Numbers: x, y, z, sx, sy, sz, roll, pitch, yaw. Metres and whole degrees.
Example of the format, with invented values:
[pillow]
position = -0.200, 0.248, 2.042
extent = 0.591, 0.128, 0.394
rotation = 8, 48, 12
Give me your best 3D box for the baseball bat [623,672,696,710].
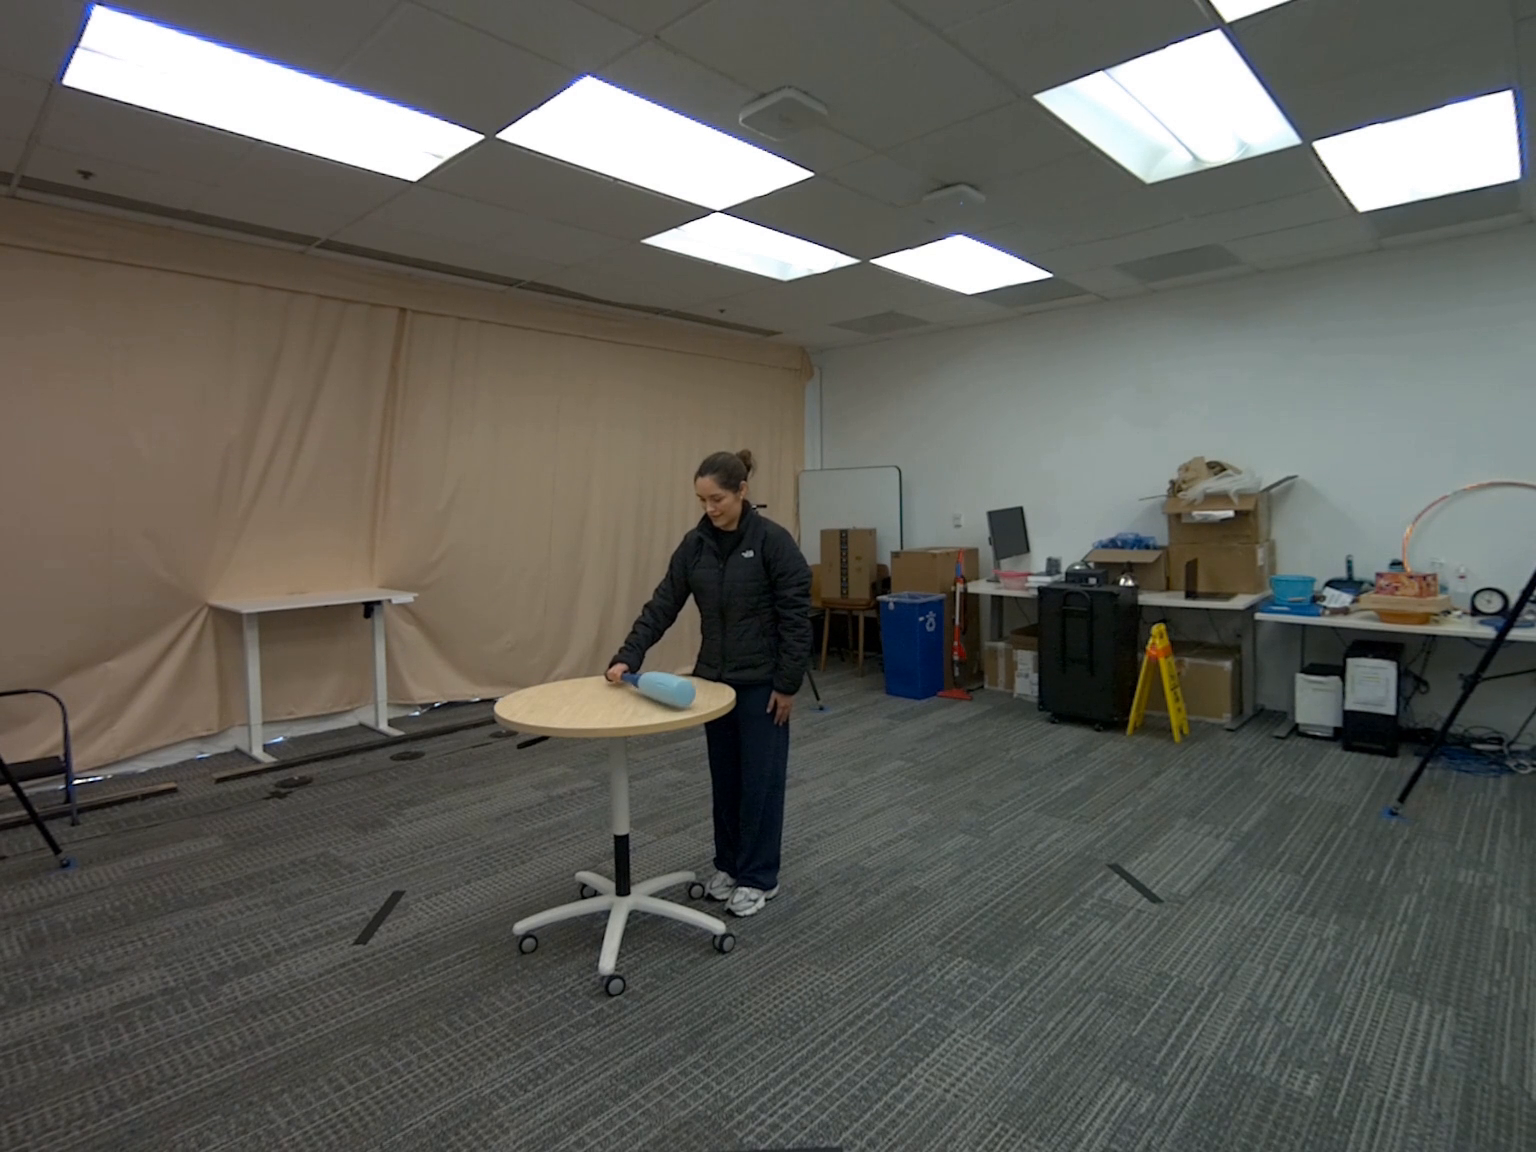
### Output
[baseball bat]
position = -0.391, 0.344, 2.702
extent = 0.086, 0.089, 0.558
rotation = -3, 2, -33
